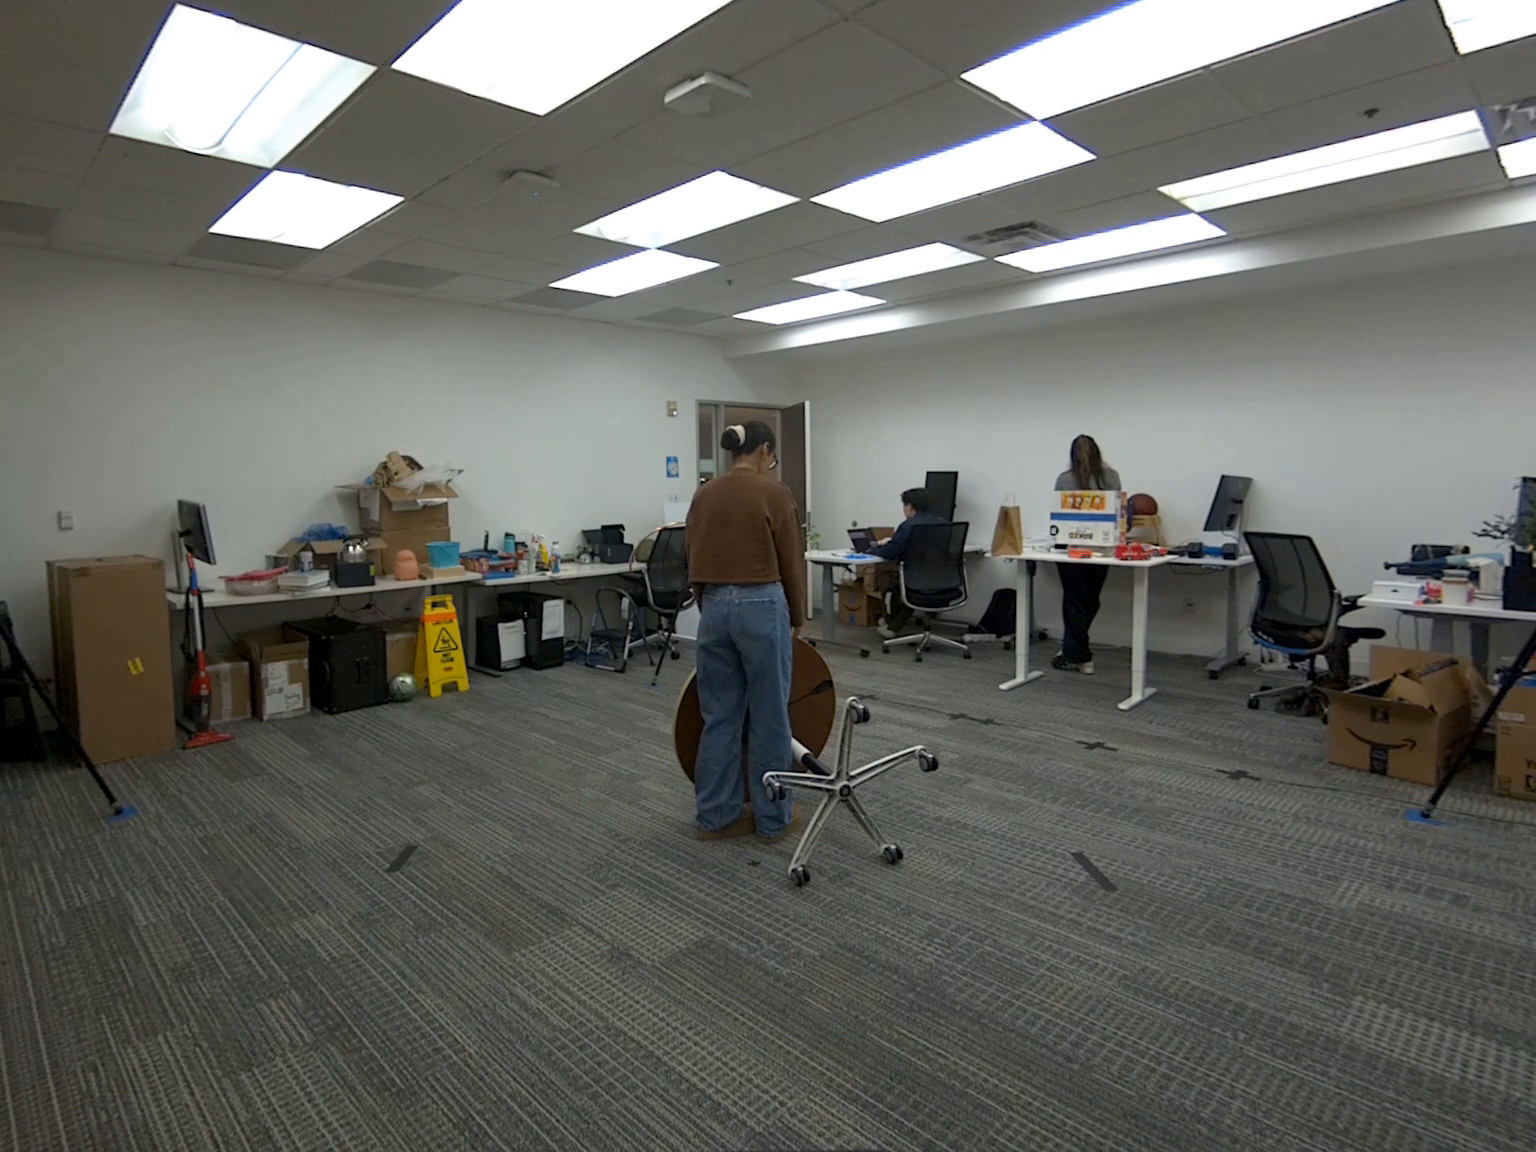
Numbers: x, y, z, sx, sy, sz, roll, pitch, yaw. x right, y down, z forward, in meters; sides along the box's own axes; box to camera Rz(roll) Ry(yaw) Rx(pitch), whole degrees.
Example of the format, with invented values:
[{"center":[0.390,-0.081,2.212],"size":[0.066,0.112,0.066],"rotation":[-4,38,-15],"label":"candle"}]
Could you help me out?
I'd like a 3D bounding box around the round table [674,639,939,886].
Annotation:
[{"center":[0.134,0.686,3.298],"size":[0.748,0.756,0.819],"rotation":[-3,13,-26],"label":"round table"}]
